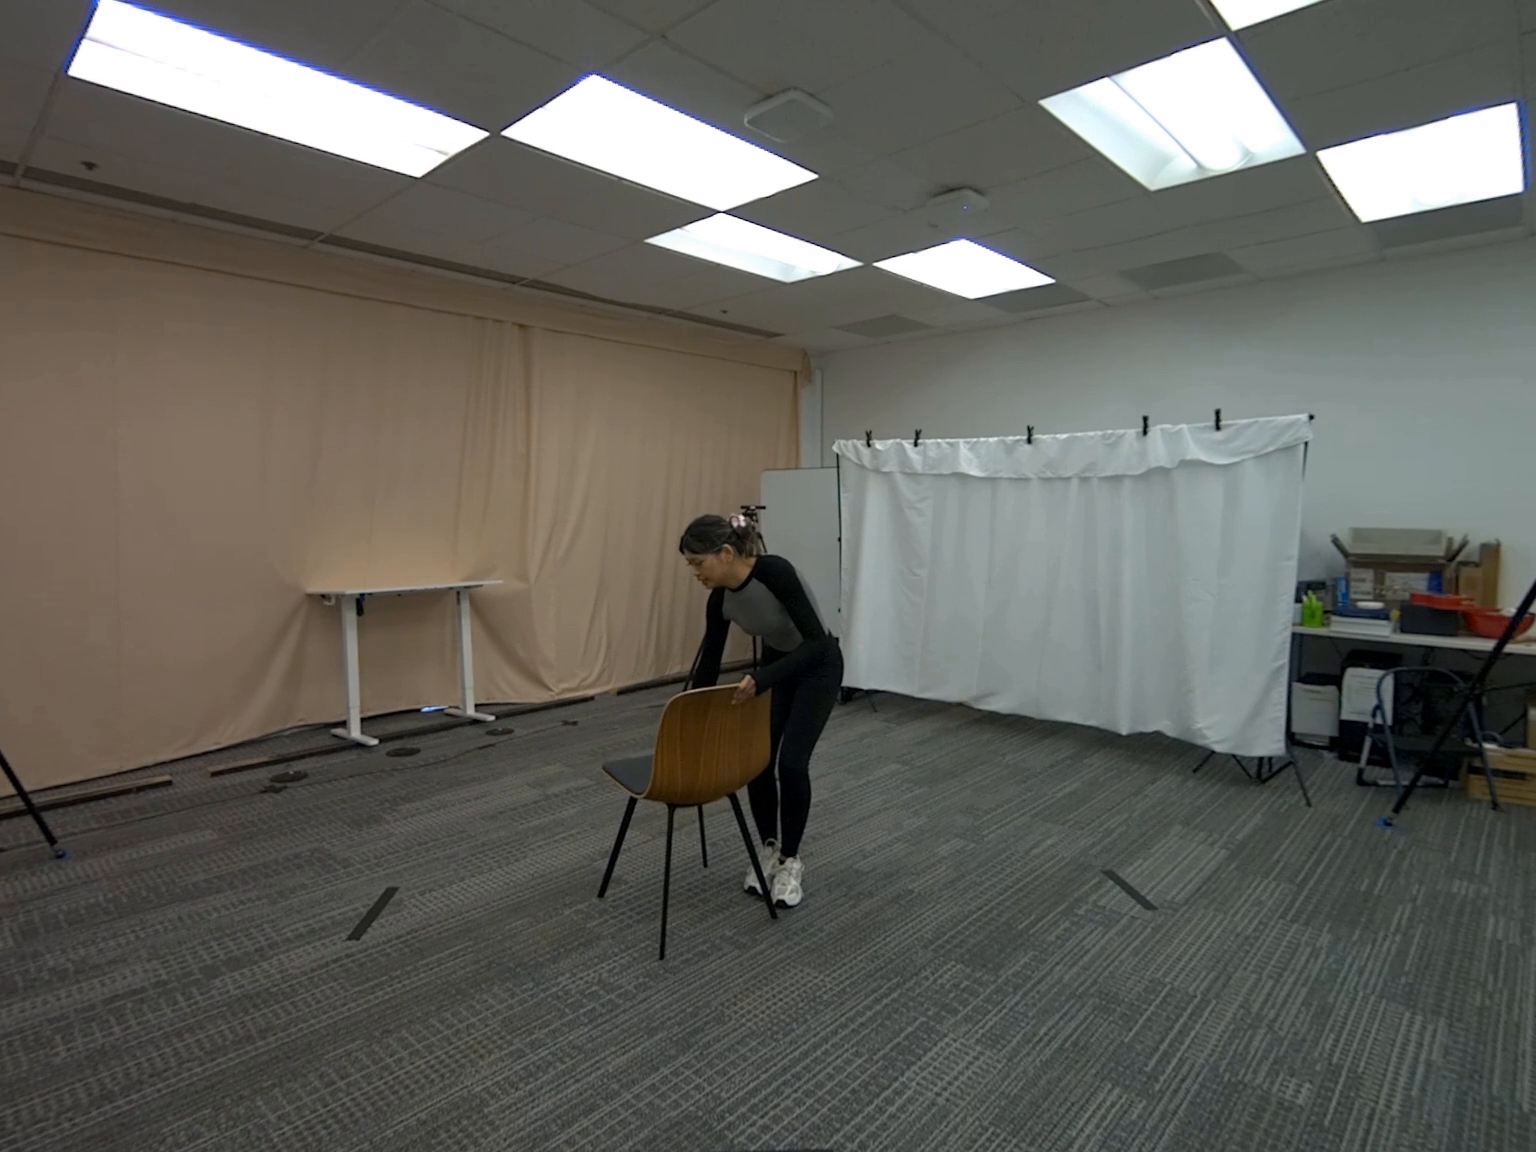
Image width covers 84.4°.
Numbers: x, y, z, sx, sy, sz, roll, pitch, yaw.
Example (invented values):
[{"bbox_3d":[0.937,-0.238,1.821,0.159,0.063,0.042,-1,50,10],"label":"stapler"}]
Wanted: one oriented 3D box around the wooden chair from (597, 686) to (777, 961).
[{"bbox_3d":[-0.282,0.714,2.850,0.464,0.872,0.541,-4,12,-35],"label":"wooden chair"}]
